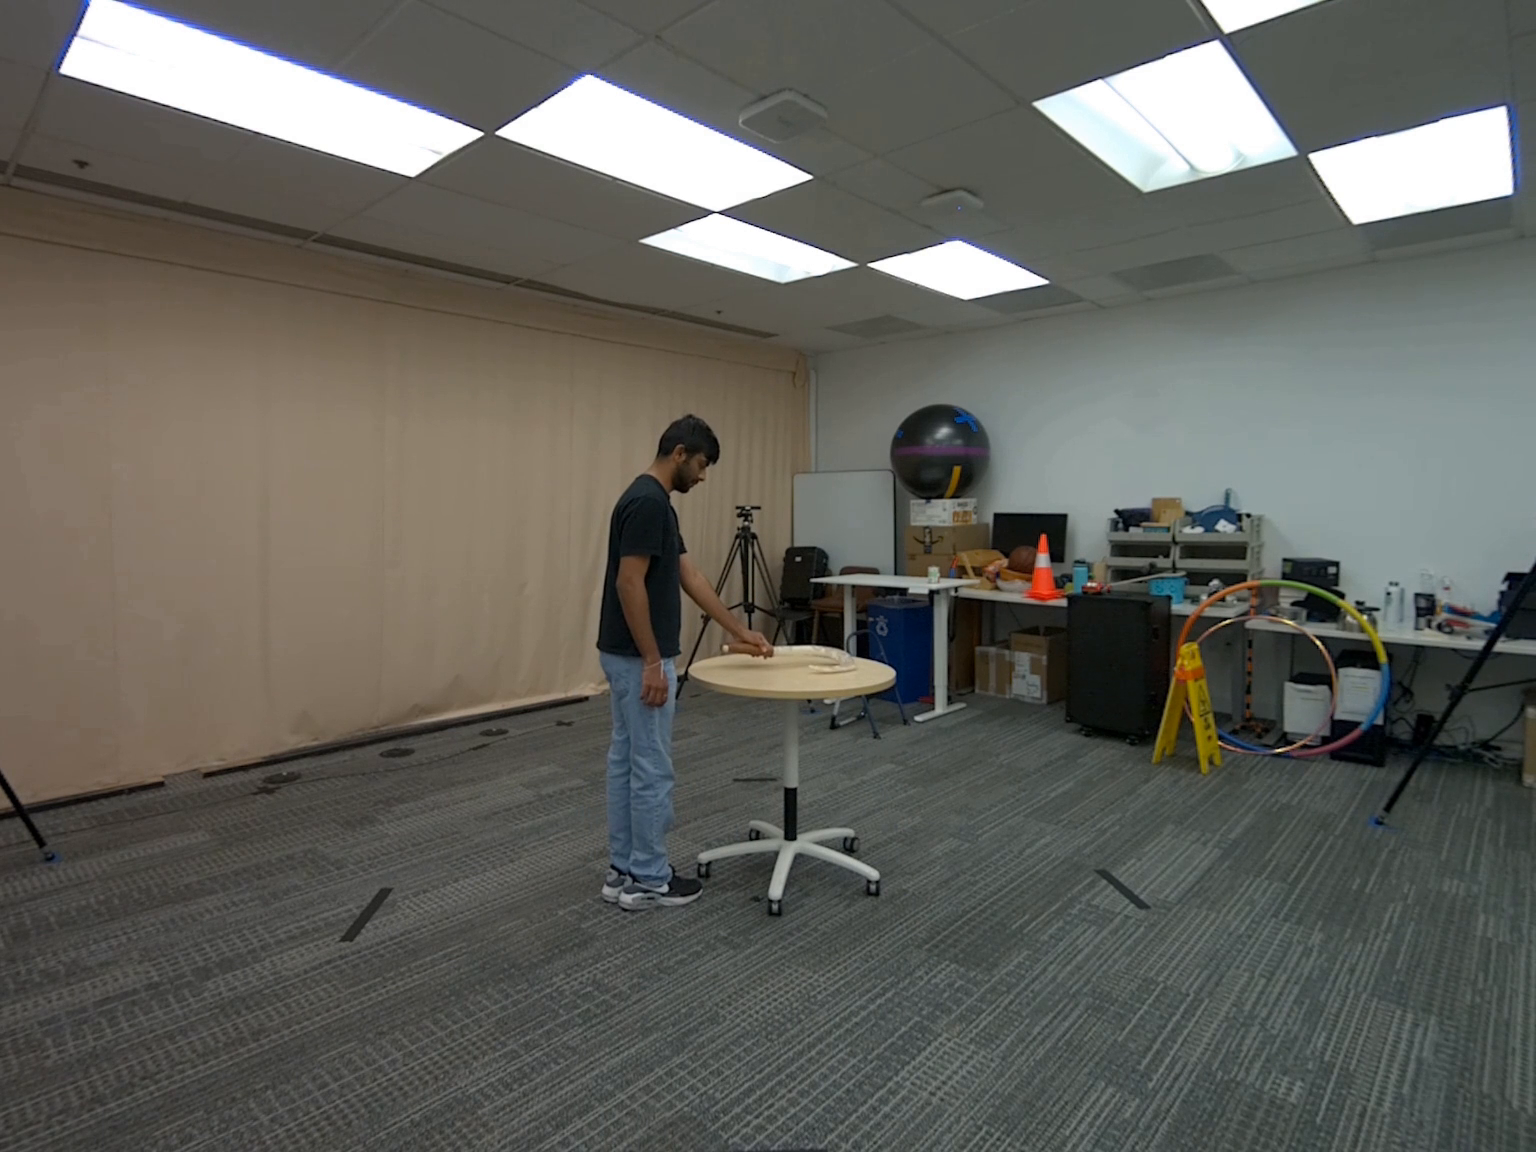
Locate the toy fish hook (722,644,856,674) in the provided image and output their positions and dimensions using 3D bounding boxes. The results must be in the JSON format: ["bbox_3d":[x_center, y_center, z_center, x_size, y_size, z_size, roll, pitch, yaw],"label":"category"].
[{"bbox_3d":[0.083,0.306,3.102,0.501,0.048,0.228,4,9,-10],"label":"toy fish hook"}]
